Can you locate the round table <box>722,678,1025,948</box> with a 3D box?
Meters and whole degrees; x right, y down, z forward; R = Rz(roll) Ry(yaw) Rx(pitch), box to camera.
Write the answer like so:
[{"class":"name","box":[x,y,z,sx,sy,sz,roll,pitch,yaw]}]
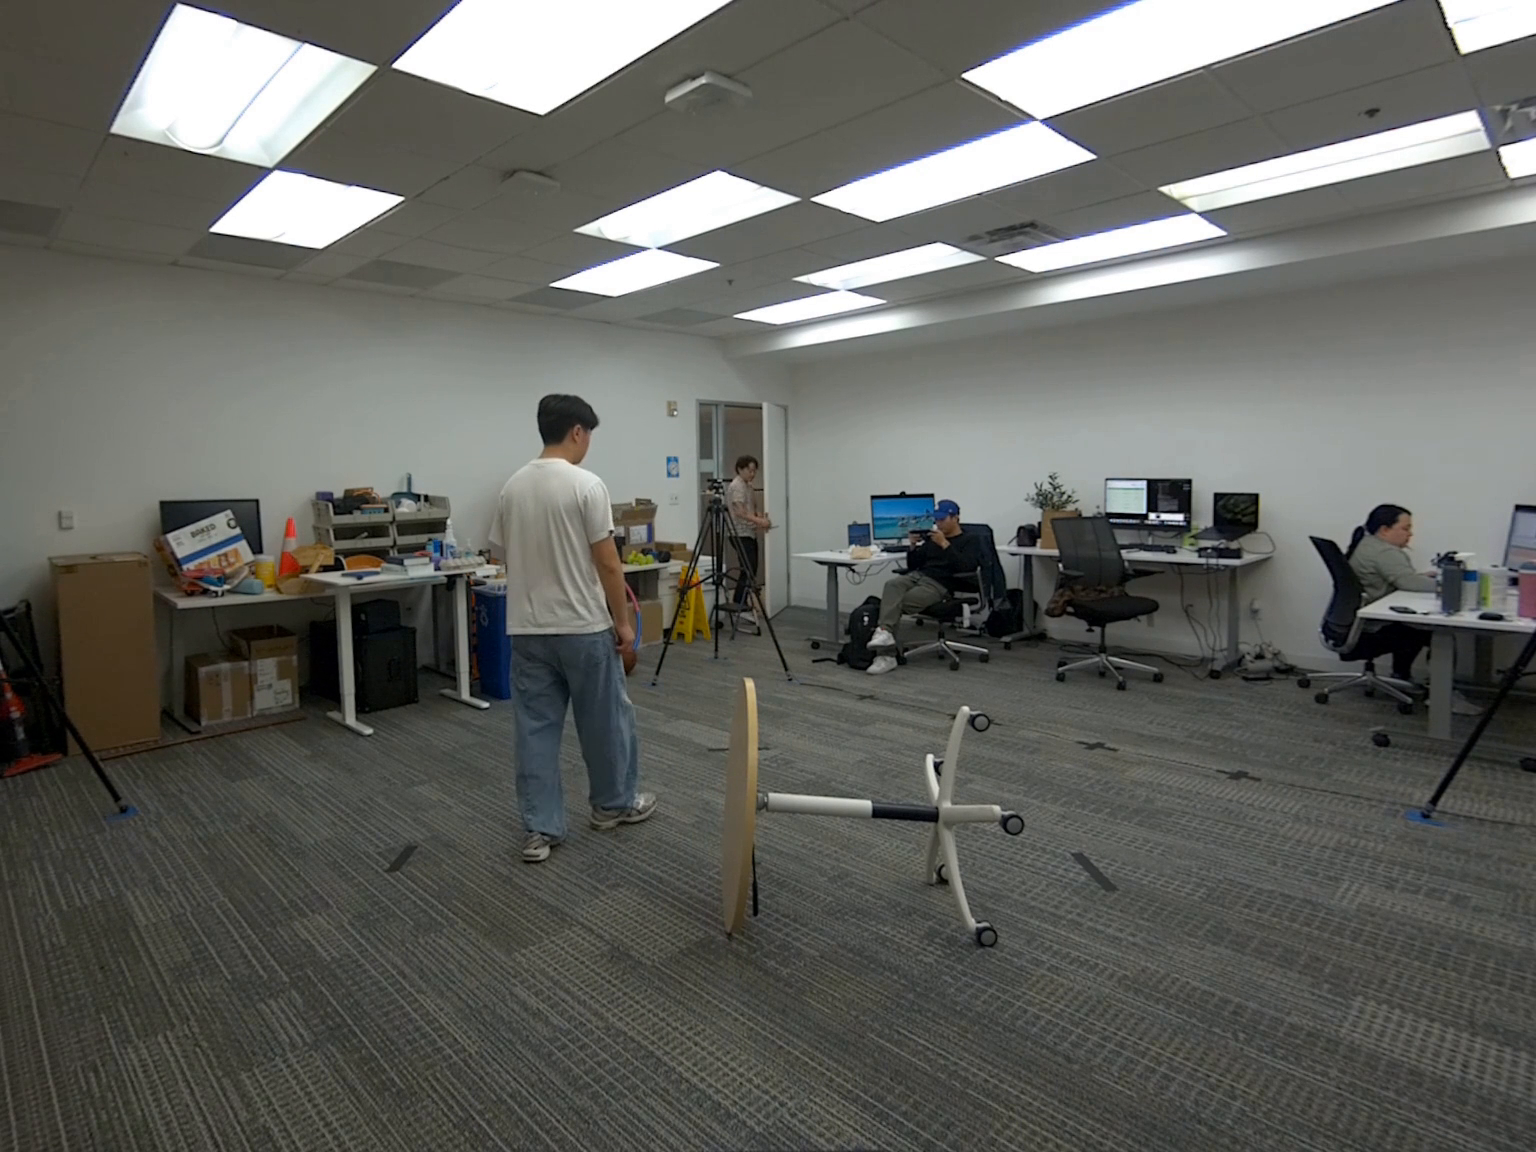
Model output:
[{"class":"round table","box":[0.289,0.737,2.730,0.783,0.783,0.791,5,4,-5]}]
